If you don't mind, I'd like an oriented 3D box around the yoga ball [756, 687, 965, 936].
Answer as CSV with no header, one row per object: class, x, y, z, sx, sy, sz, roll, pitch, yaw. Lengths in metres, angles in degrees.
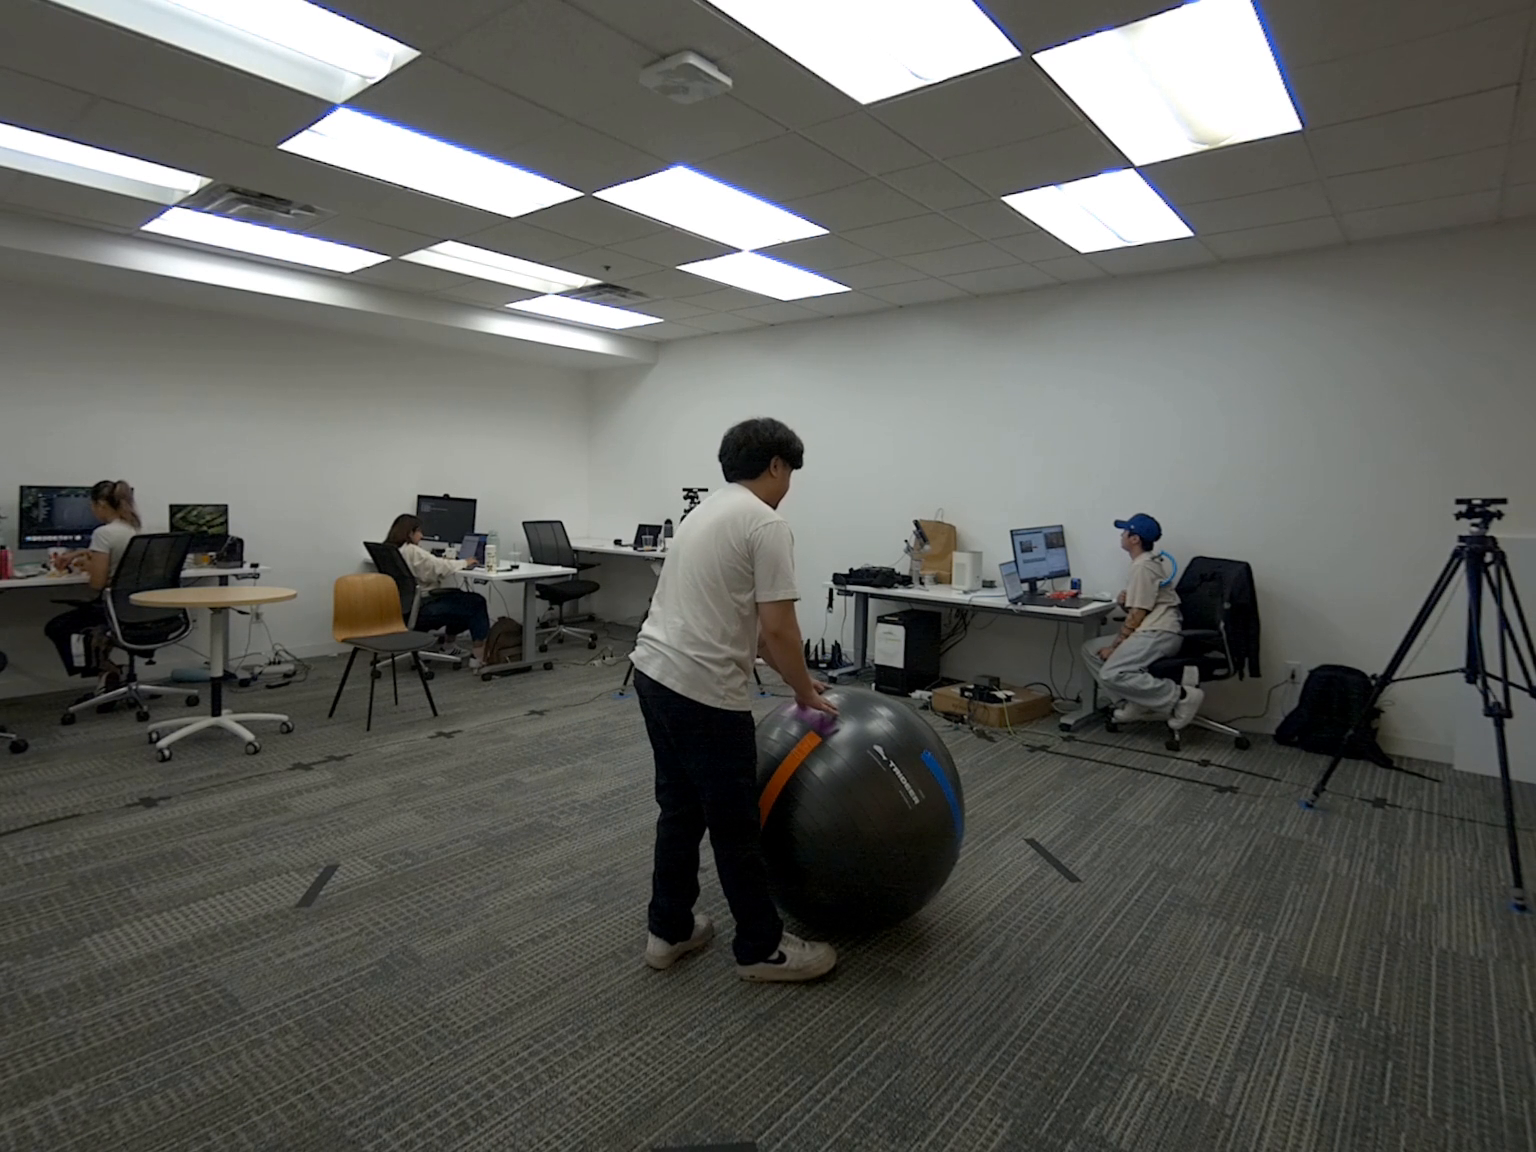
yoga ball,0.250,0.745,2.771,0.757,0.755,0.762,1,4,-2
